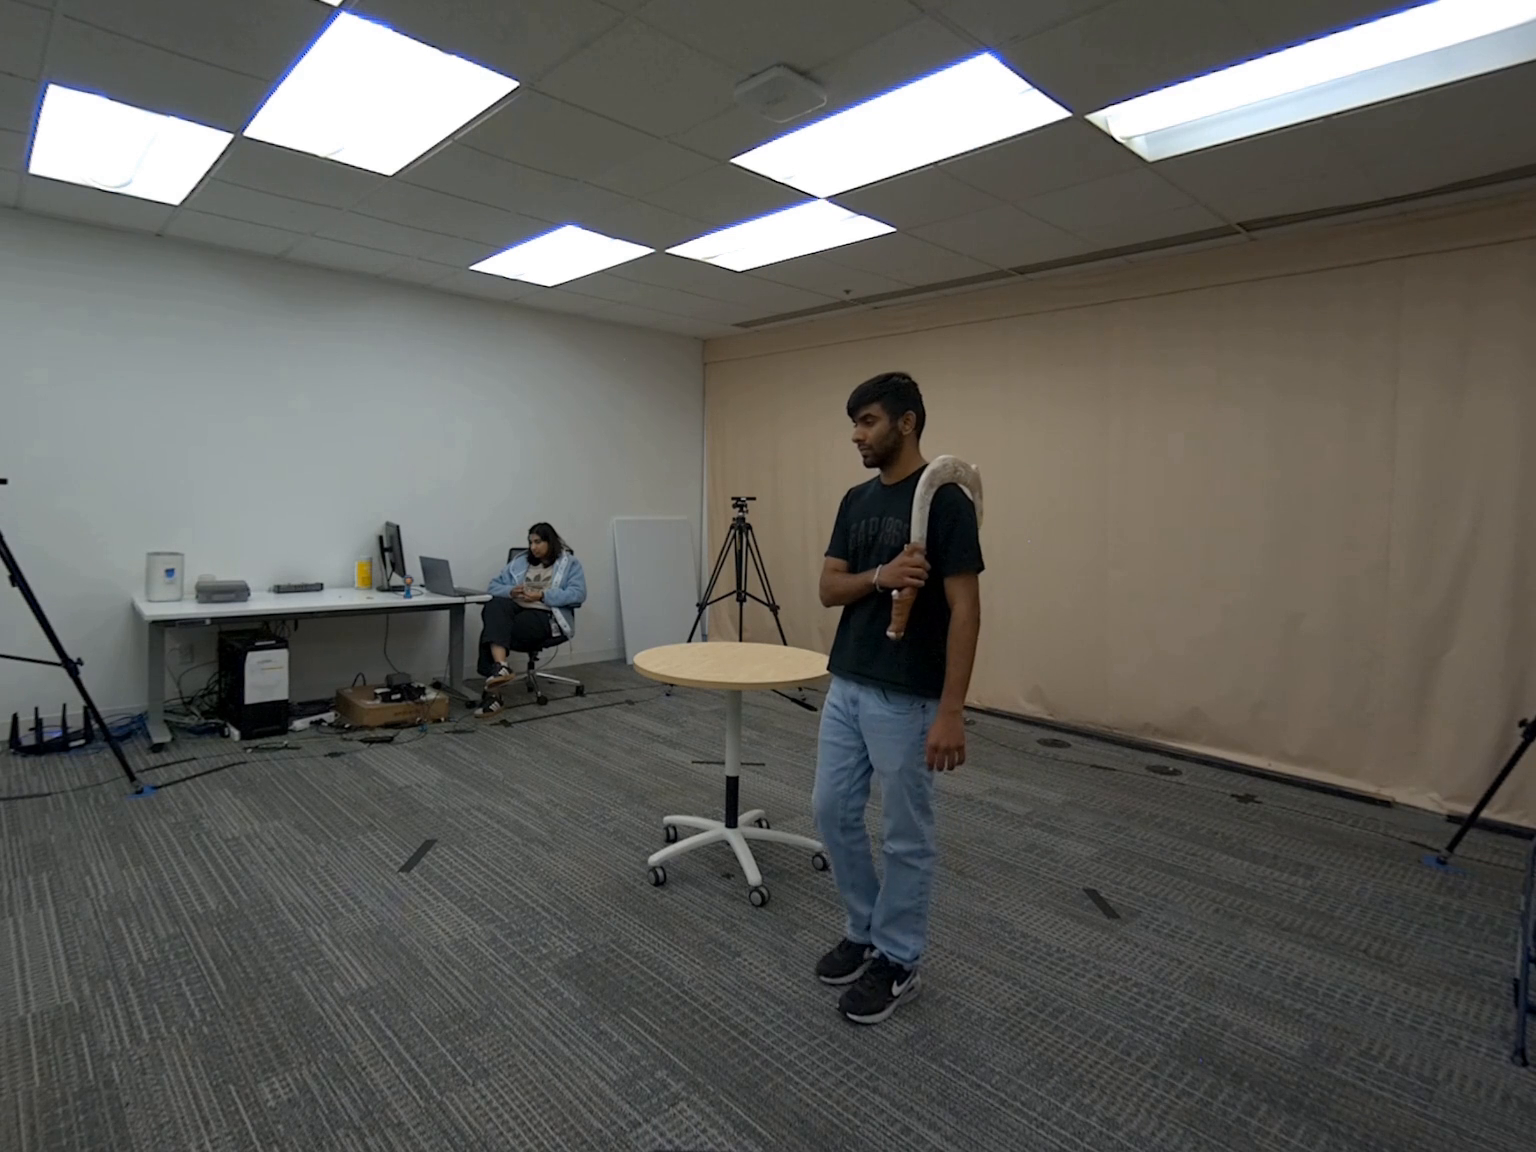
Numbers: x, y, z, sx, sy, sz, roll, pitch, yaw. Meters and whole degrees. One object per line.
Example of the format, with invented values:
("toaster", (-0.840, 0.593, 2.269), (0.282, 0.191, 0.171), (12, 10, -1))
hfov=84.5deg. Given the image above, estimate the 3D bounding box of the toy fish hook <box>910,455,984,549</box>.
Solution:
("toy fish hook", (0.431, -0.062, 2.190), (0.220, 0.507, 0.049), (16, -3, -20))
